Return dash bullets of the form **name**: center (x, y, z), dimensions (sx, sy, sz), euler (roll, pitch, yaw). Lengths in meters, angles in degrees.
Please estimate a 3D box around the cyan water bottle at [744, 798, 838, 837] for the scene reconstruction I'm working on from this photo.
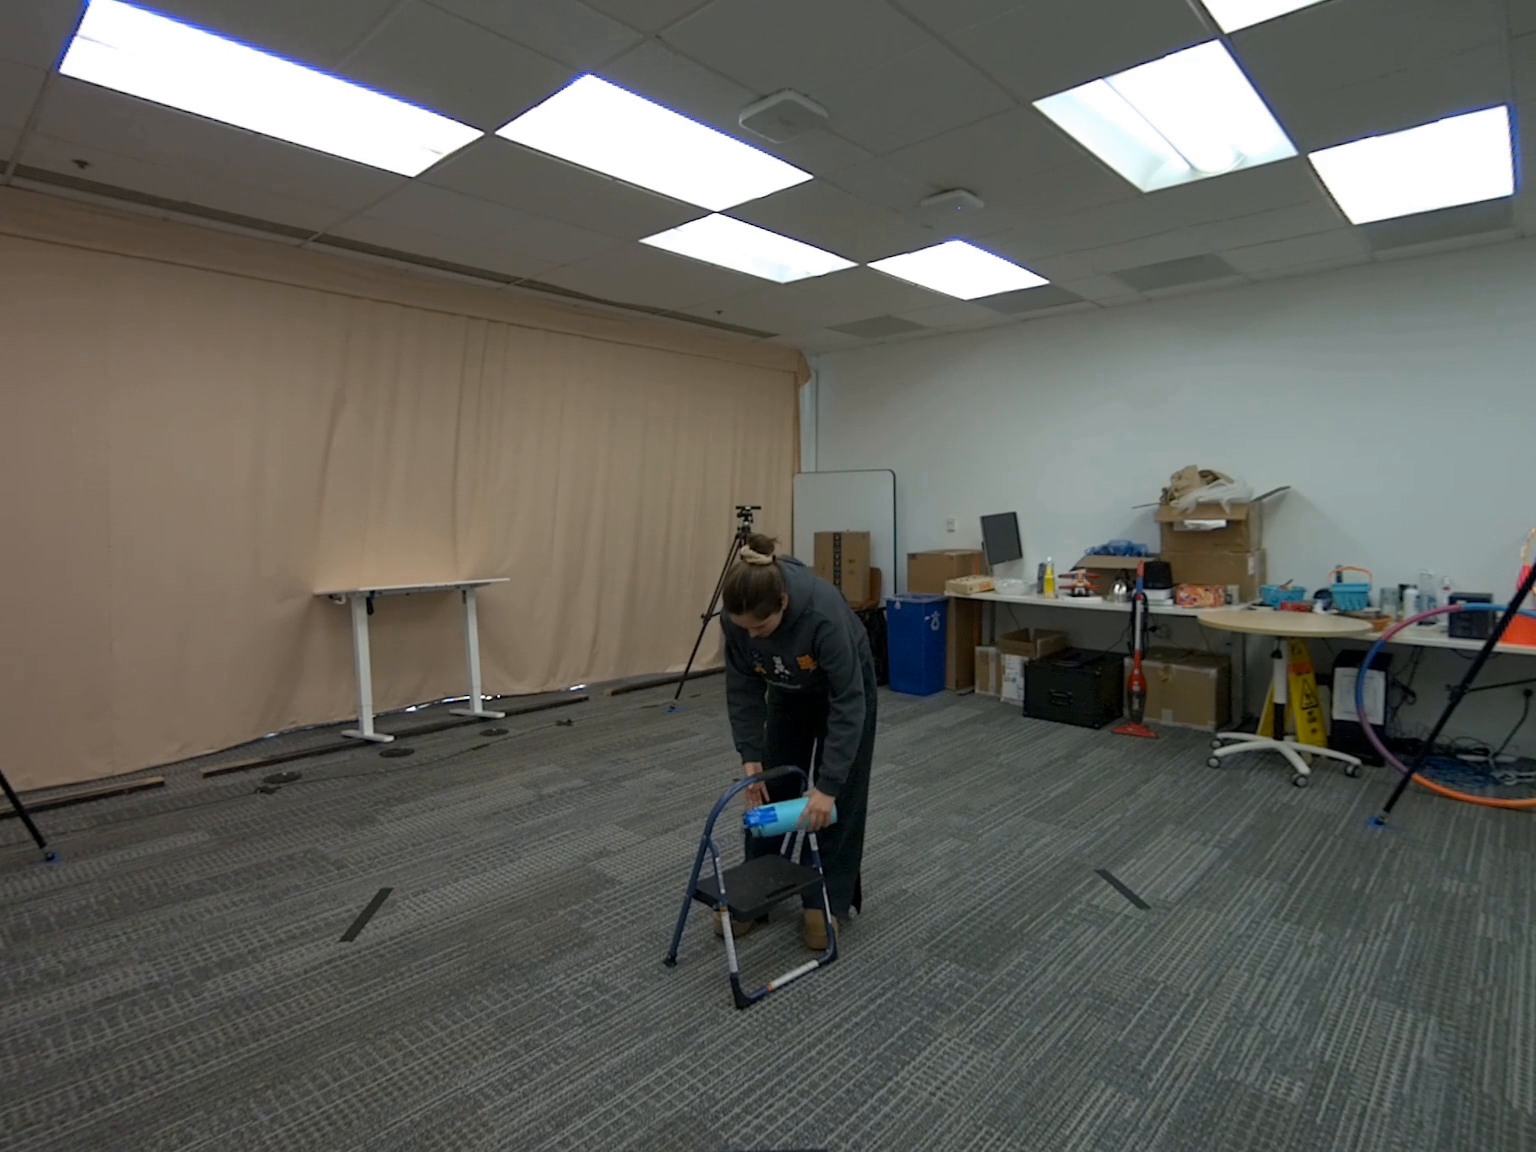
- **cyan water bottle**: center (0.072, 0.701, 2.489), dimensions (0.281, 0.092, 0.093), euler (-8, 5, -8)
